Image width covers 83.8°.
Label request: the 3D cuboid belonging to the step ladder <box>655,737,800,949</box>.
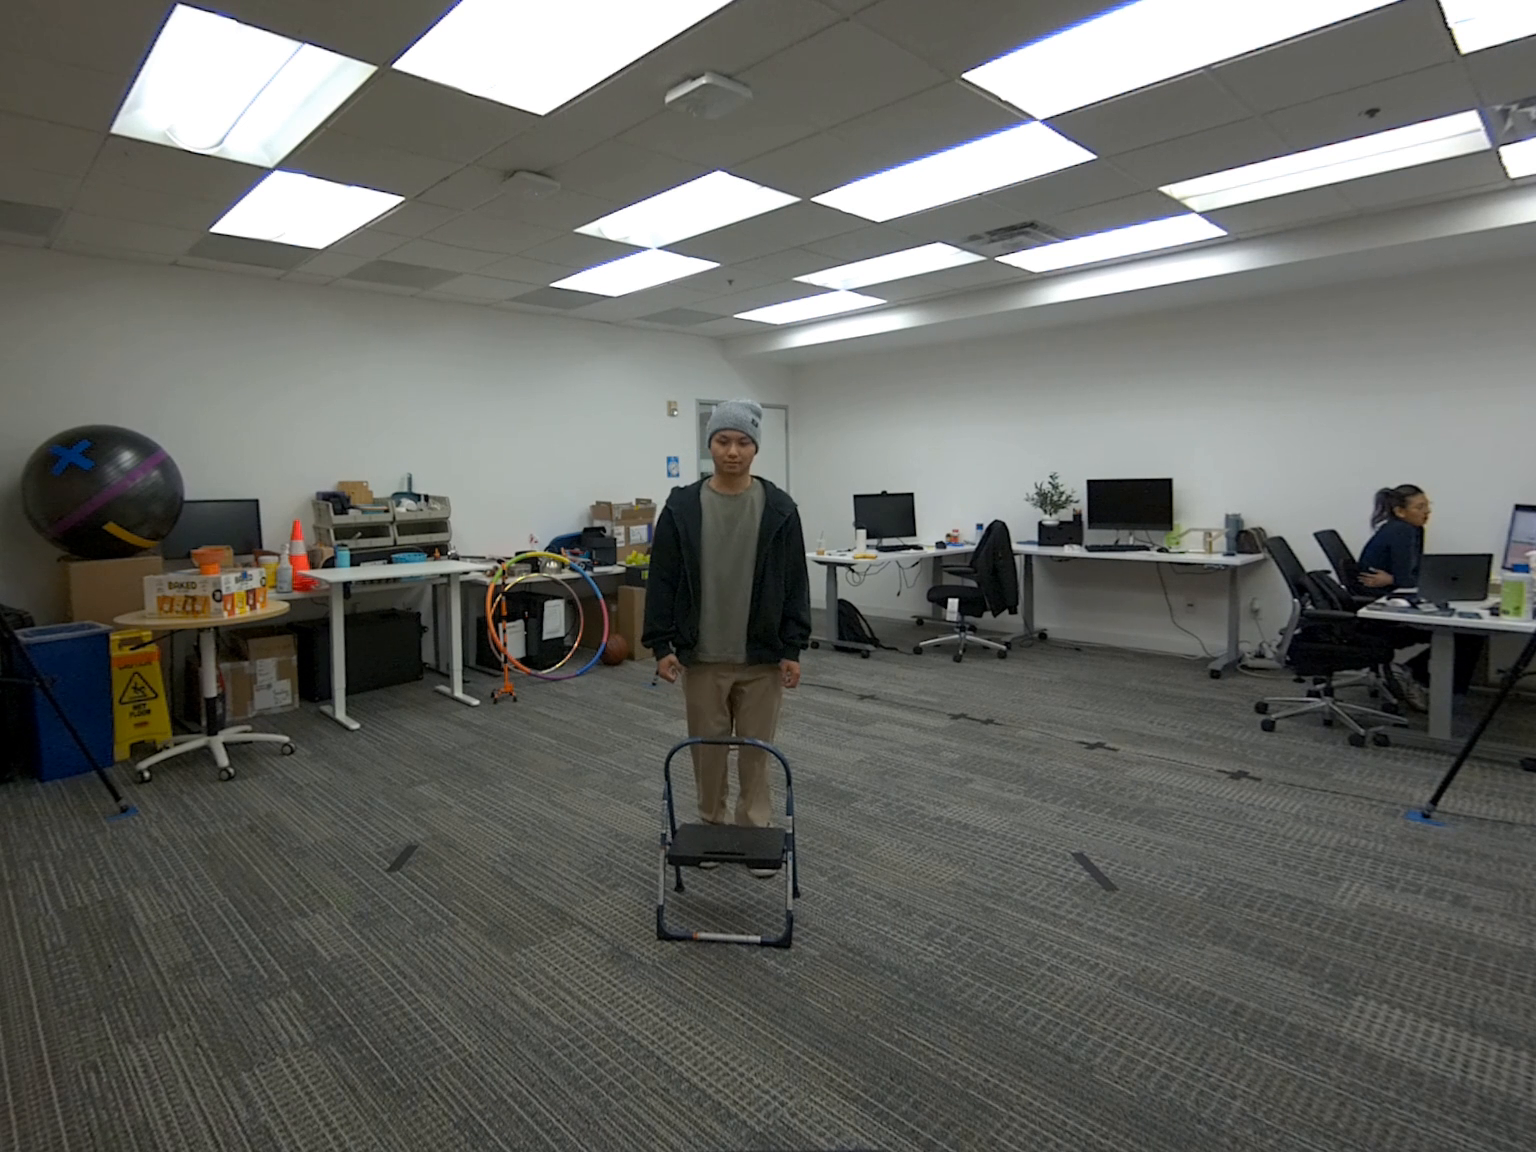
[{"bbox_3d":[-0.124,0.793,2.718,0.434,0.604,0.348,-1,5,7],"label":"step ladder"}]
